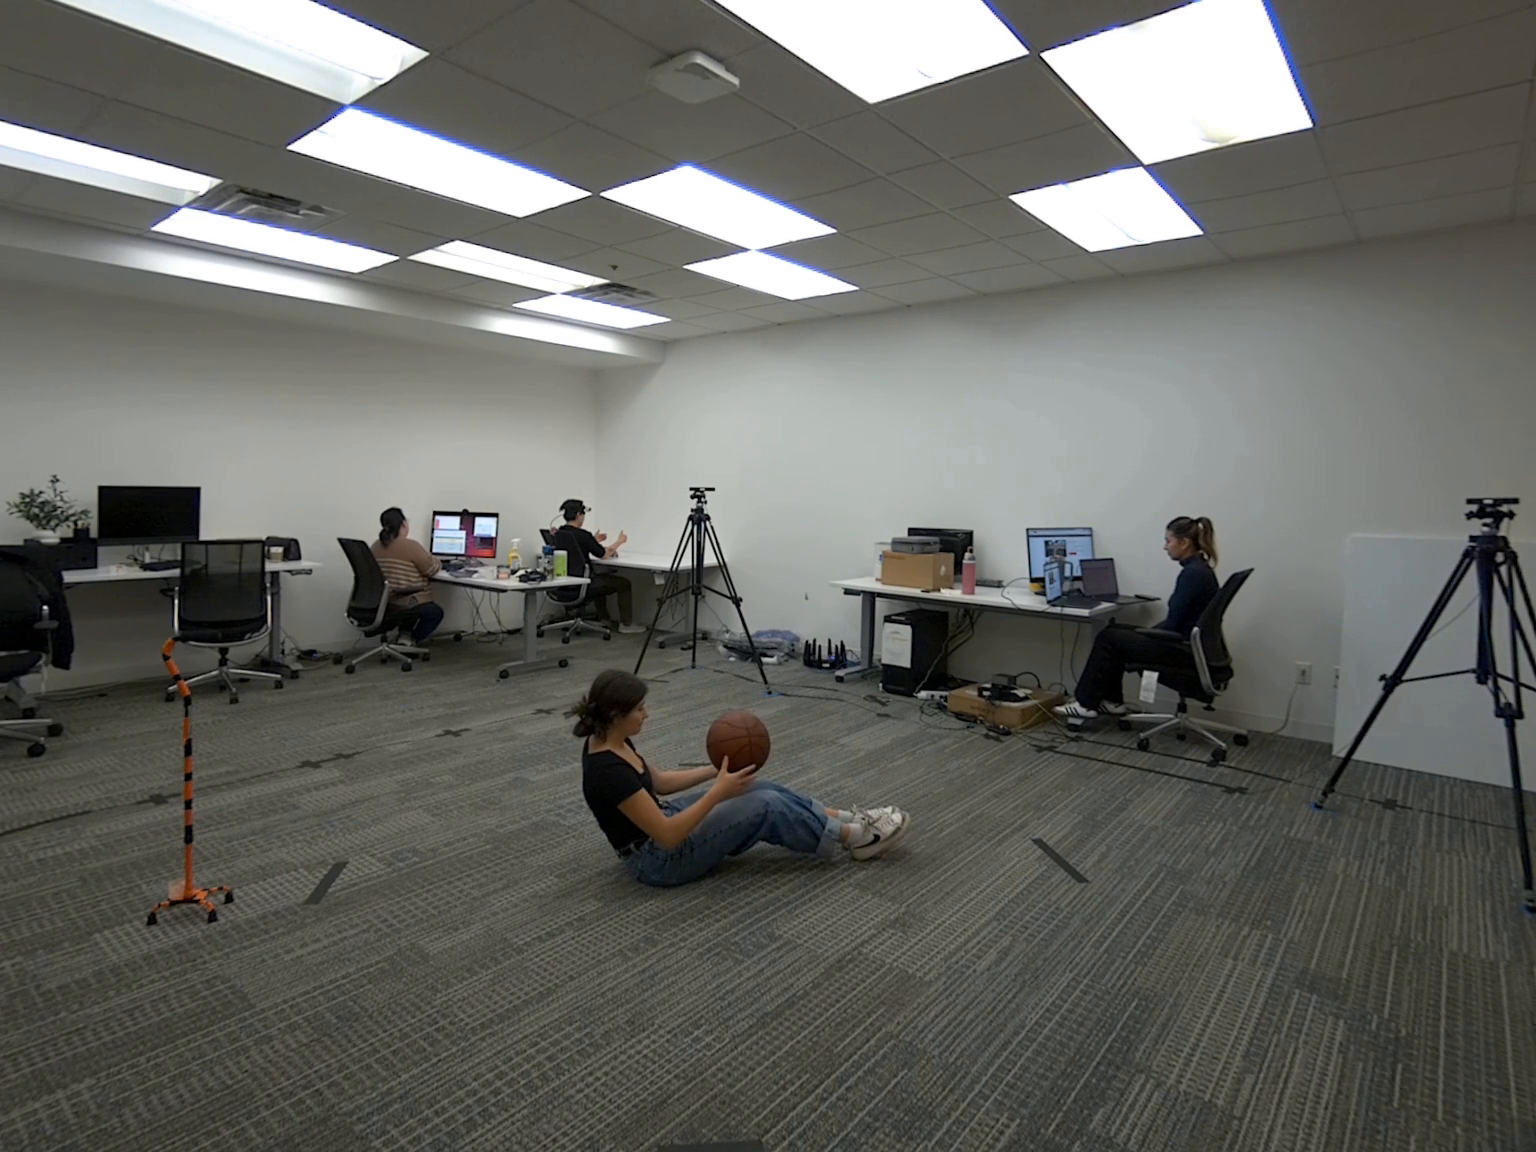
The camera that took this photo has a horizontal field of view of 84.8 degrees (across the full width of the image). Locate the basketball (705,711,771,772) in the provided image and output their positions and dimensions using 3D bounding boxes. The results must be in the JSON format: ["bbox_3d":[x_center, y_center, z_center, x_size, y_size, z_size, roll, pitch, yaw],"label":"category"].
[{"bbox_3d":[-0.126,0.623,3.139,0.235,0.235,0.237,1,4,-2],"label":"basketball"}]
